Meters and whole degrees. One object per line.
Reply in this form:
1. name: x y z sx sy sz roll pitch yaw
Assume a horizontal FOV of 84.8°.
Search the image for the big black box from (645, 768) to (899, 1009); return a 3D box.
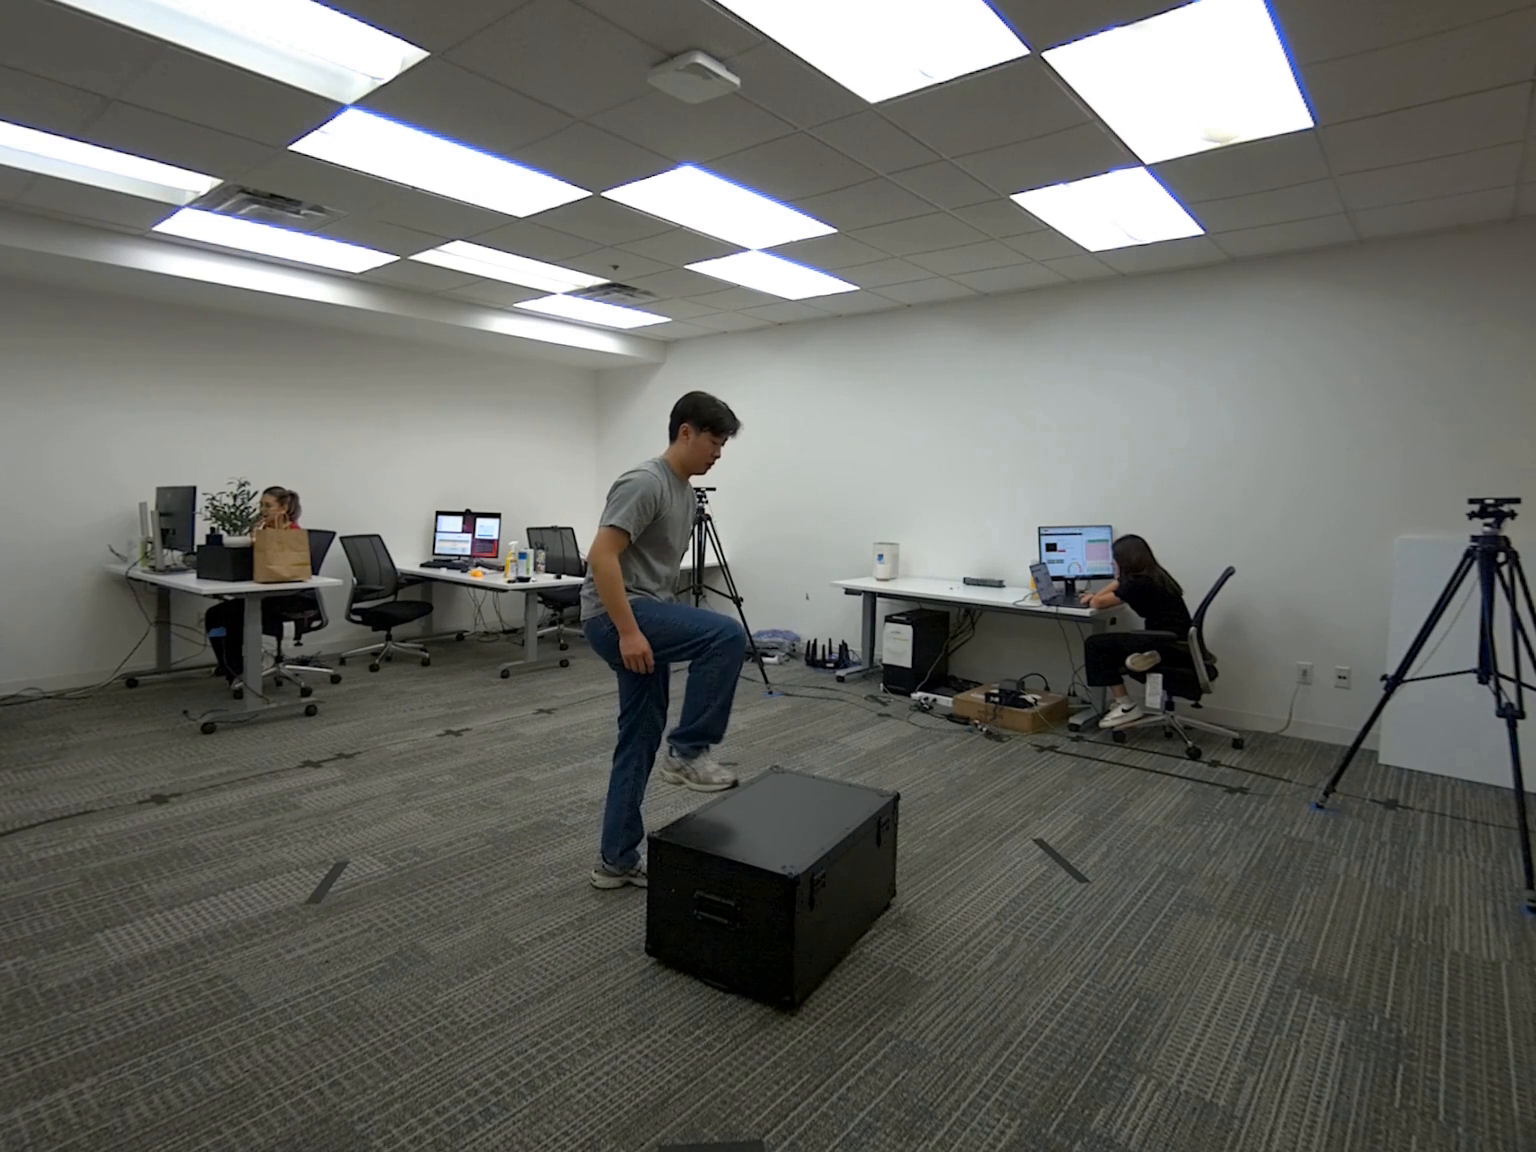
1. big black box: 0.051 0.921 2.698 0.537 0.395 0.840 3 6 30
